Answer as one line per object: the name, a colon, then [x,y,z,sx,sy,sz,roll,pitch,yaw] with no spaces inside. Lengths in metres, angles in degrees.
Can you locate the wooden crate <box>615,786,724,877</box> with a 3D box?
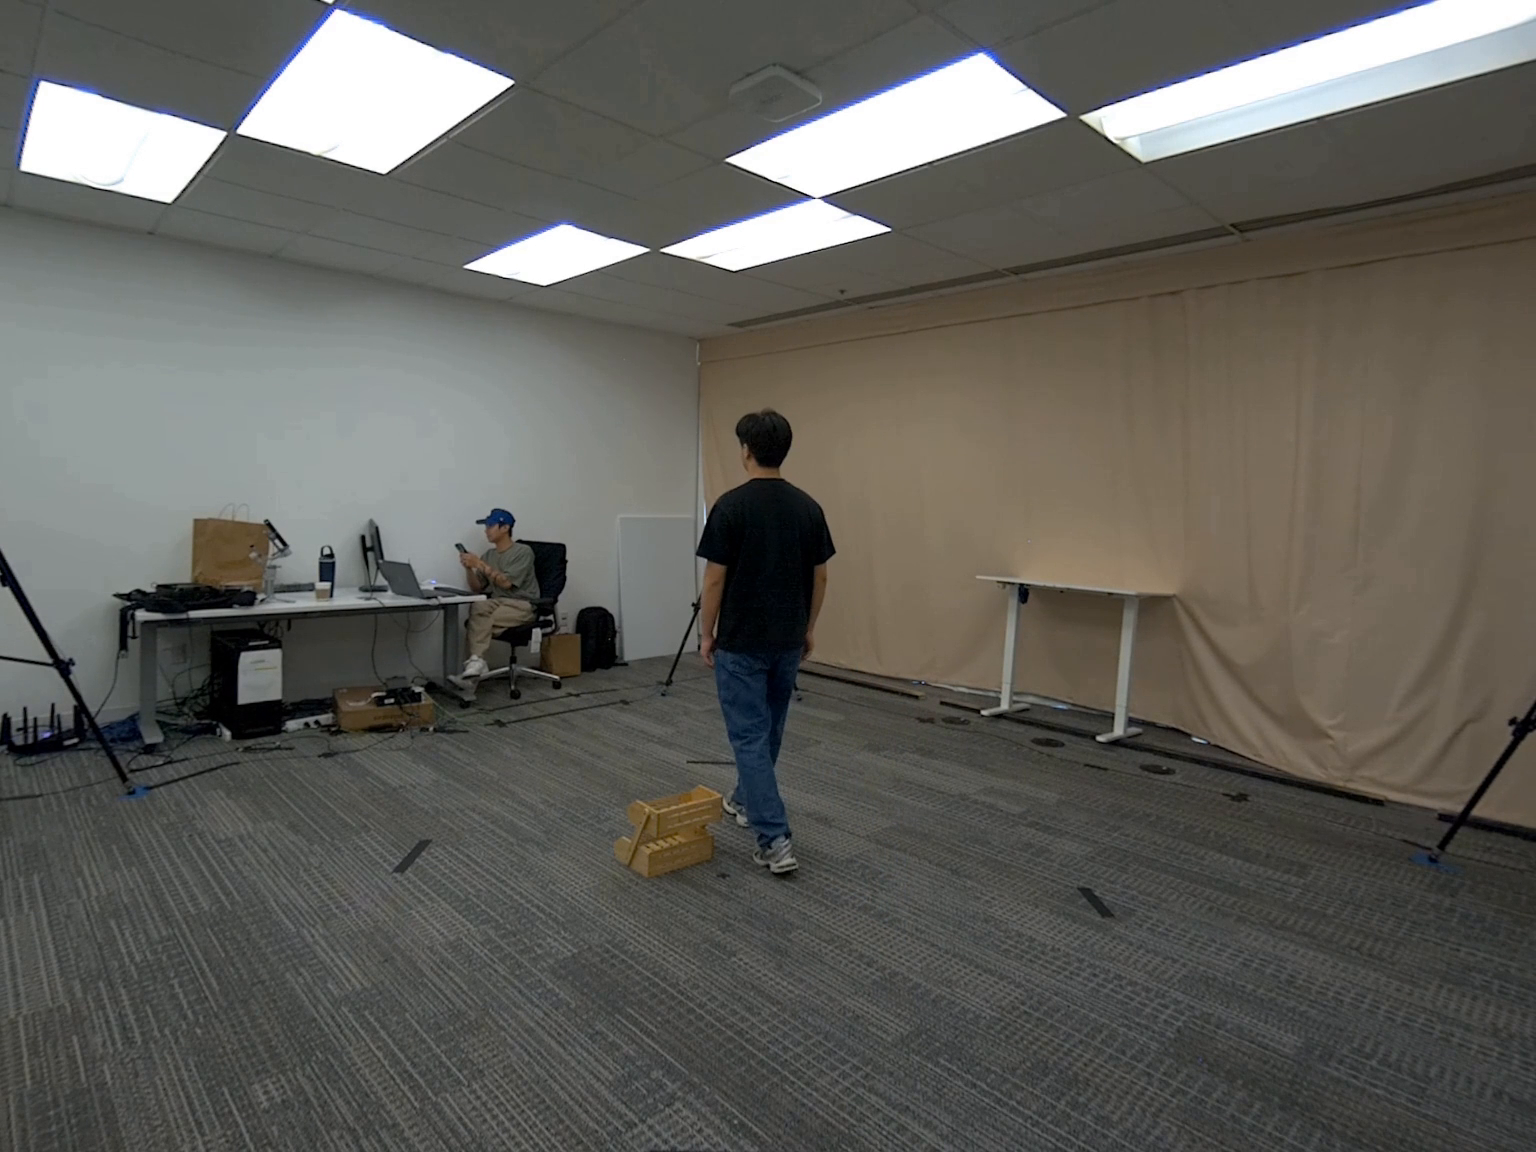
wooden crate: [-0.395,0.960,3.232,0.317,0.272,0.310,-1,5,-41]
